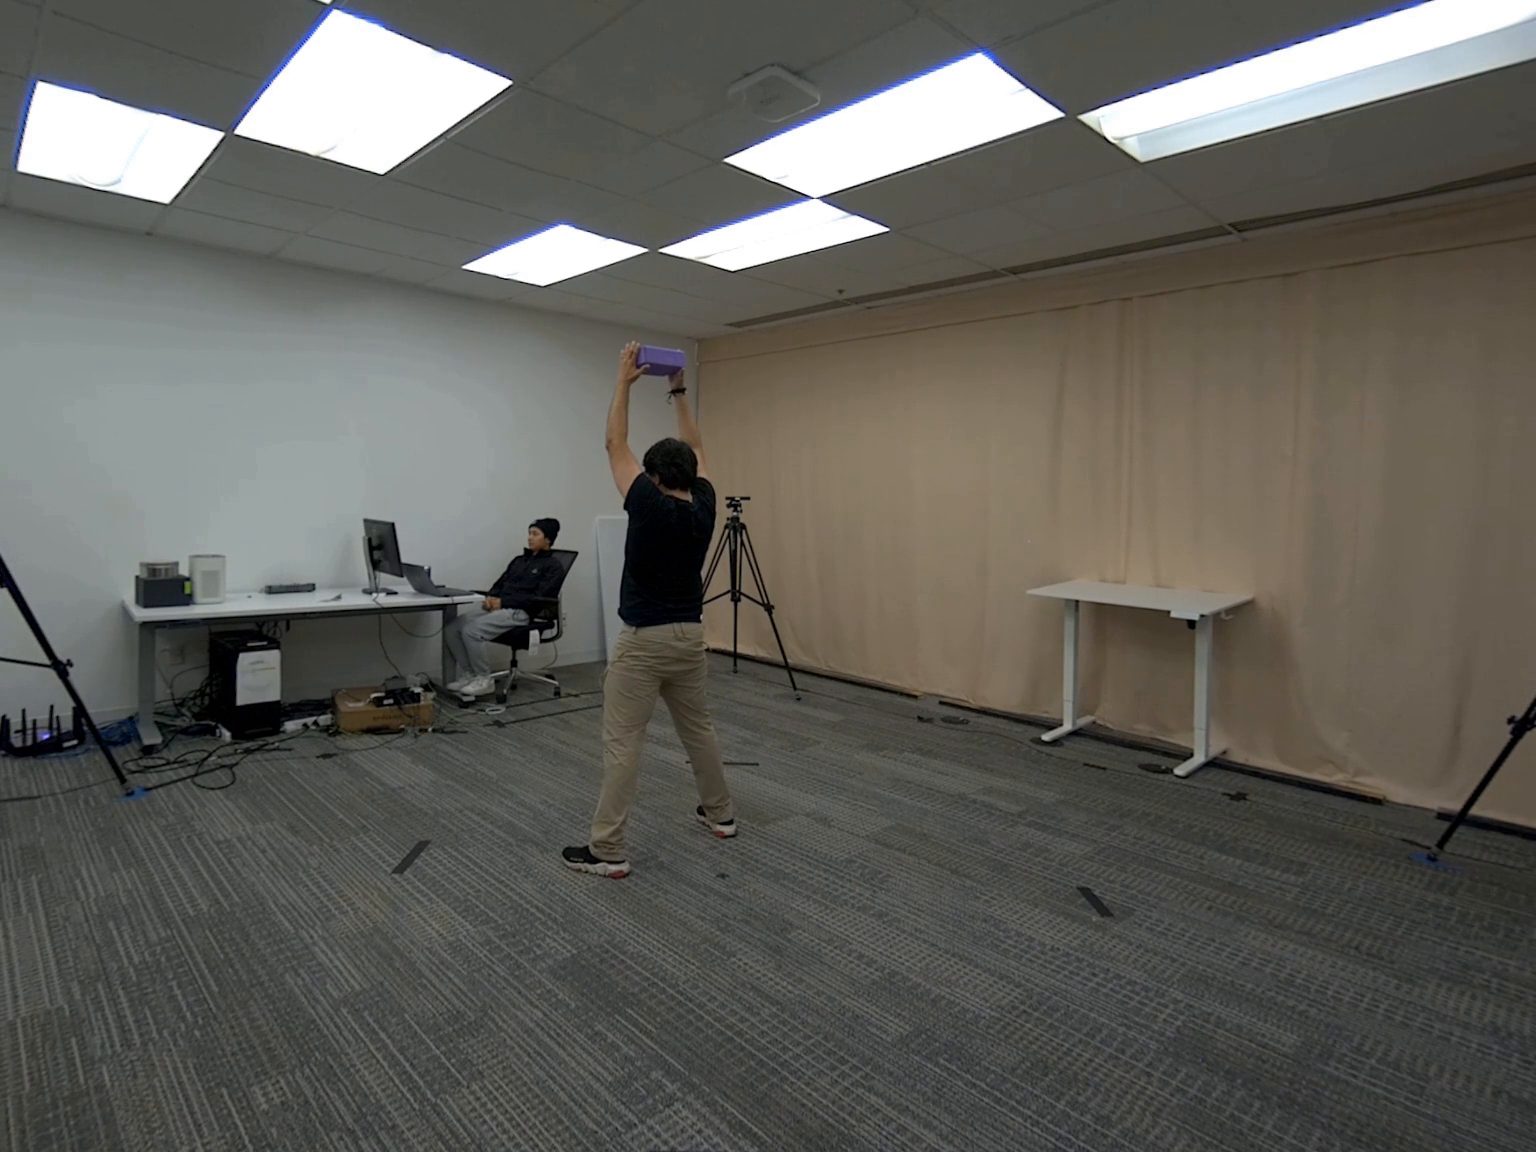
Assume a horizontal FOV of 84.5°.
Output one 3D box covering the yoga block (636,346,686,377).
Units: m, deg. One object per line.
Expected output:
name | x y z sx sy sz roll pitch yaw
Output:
yoga block | -0.467 -0.868 3.394 0.152 0.076 0.225 -7 1 38
